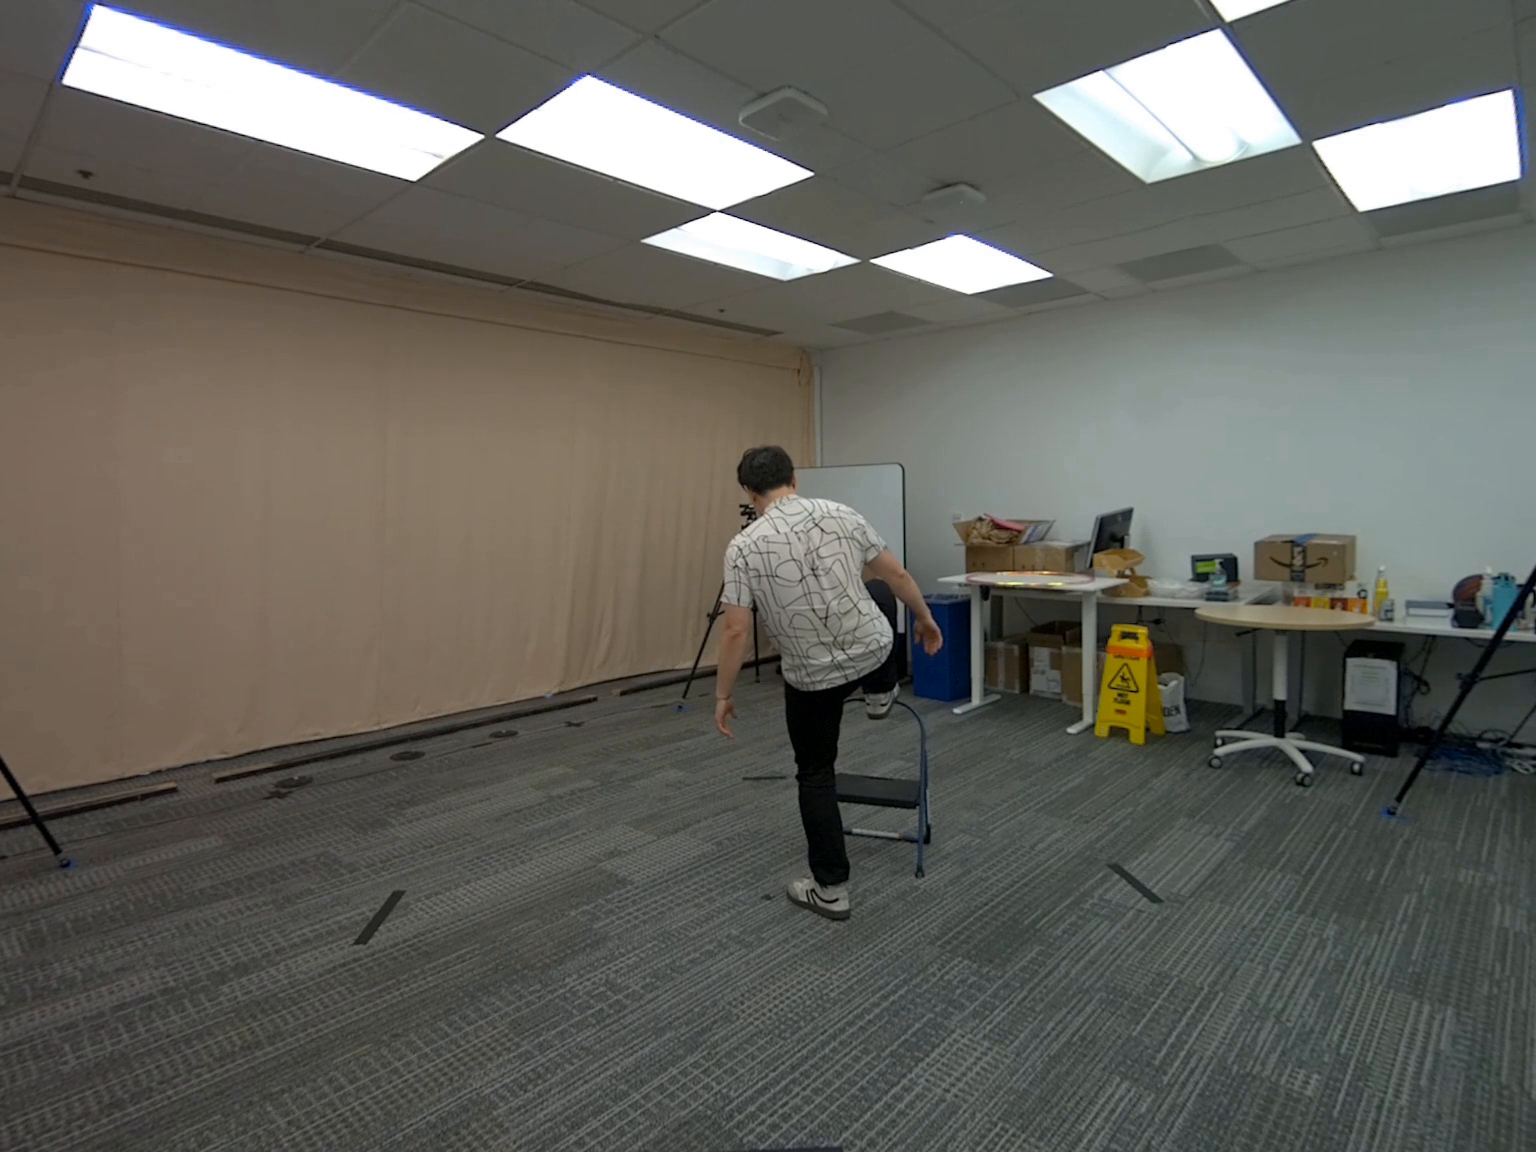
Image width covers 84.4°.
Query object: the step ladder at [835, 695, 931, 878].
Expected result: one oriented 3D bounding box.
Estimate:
[{"bbox_3d":[0.424,0.799,3.341,0.439,0.605,0.343,1,4,18],"label":"step ladder"}]
